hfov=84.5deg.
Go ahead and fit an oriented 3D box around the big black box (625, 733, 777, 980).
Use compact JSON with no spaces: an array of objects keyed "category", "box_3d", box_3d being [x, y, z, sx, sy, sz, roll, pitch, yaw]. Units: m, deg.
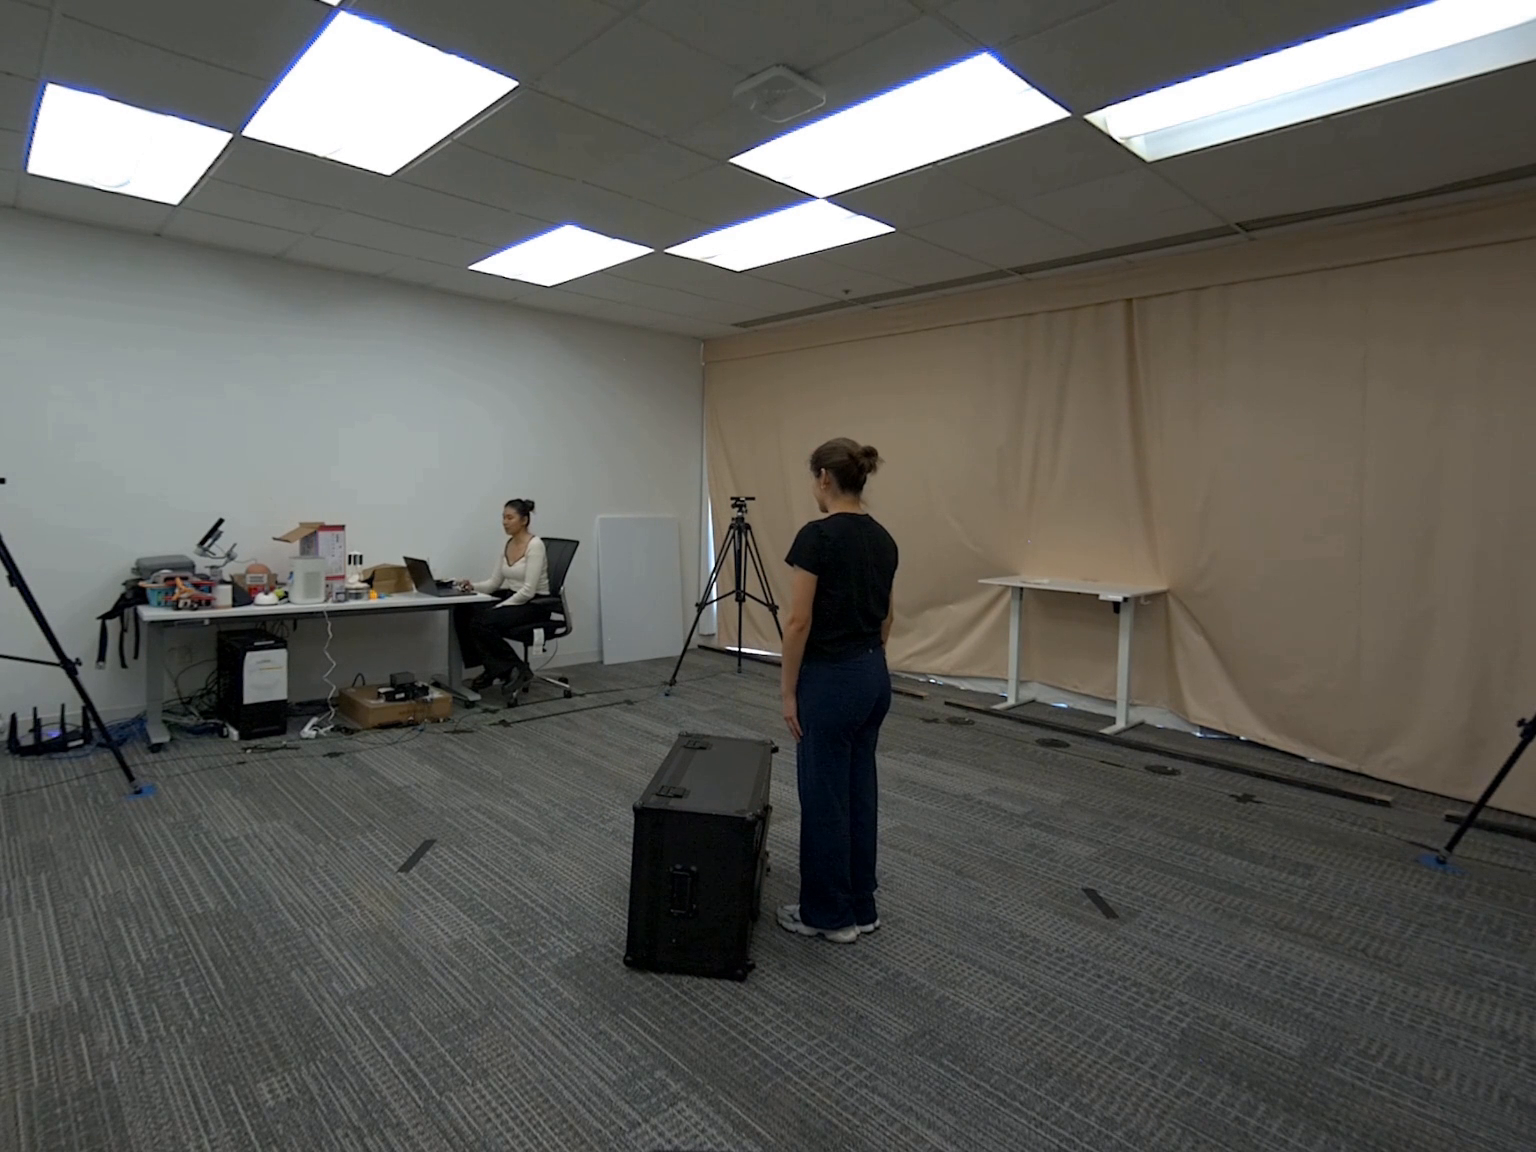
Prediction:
[{"category":"big black box","box_3d":[-0.185,0.877,2.823,0.398,0.520,0.861,4,5,3]}]
